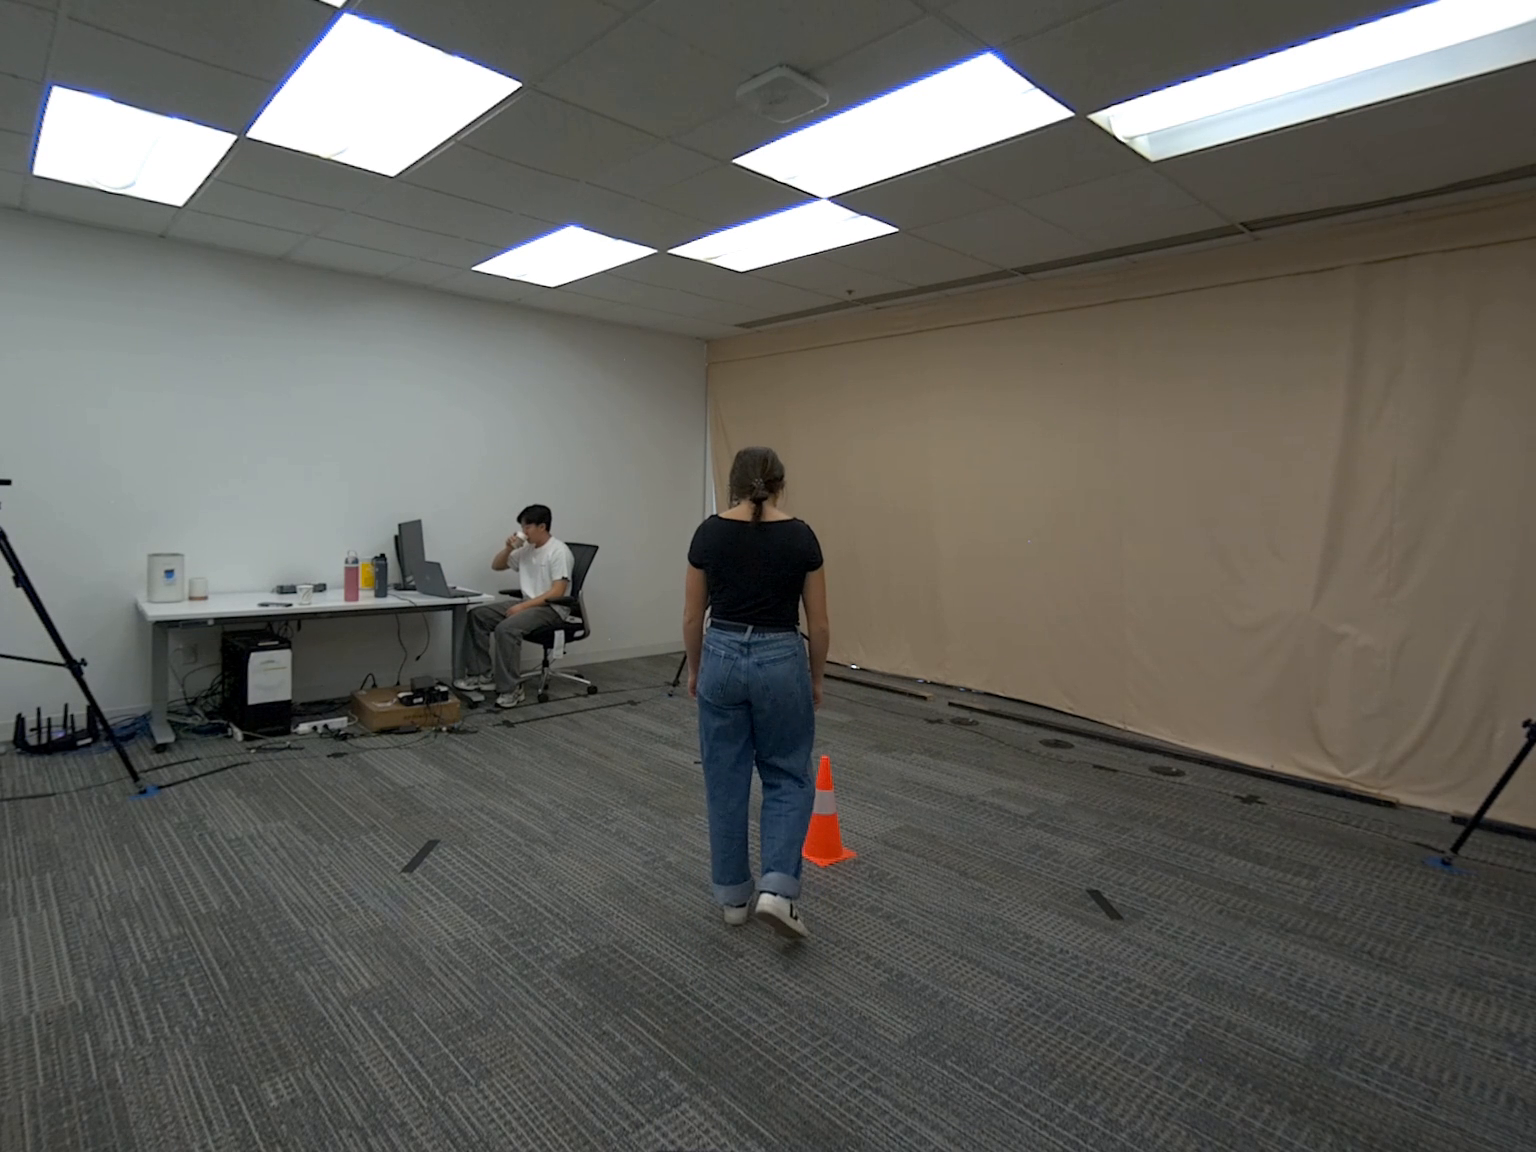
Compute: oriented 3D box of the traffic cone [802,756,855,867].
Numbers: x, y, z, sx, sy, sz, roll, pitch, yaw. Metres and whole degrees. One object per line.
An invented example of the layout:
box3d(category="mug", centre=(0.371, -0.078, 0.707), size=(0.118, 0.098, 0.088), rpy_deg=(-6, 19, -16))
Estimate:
box3d(category="traffic cone", centre=(0.214, 0.910, 3.336), size=(0.200, 0.383, 0.208), rpy_deg=(1, 2, -38))
